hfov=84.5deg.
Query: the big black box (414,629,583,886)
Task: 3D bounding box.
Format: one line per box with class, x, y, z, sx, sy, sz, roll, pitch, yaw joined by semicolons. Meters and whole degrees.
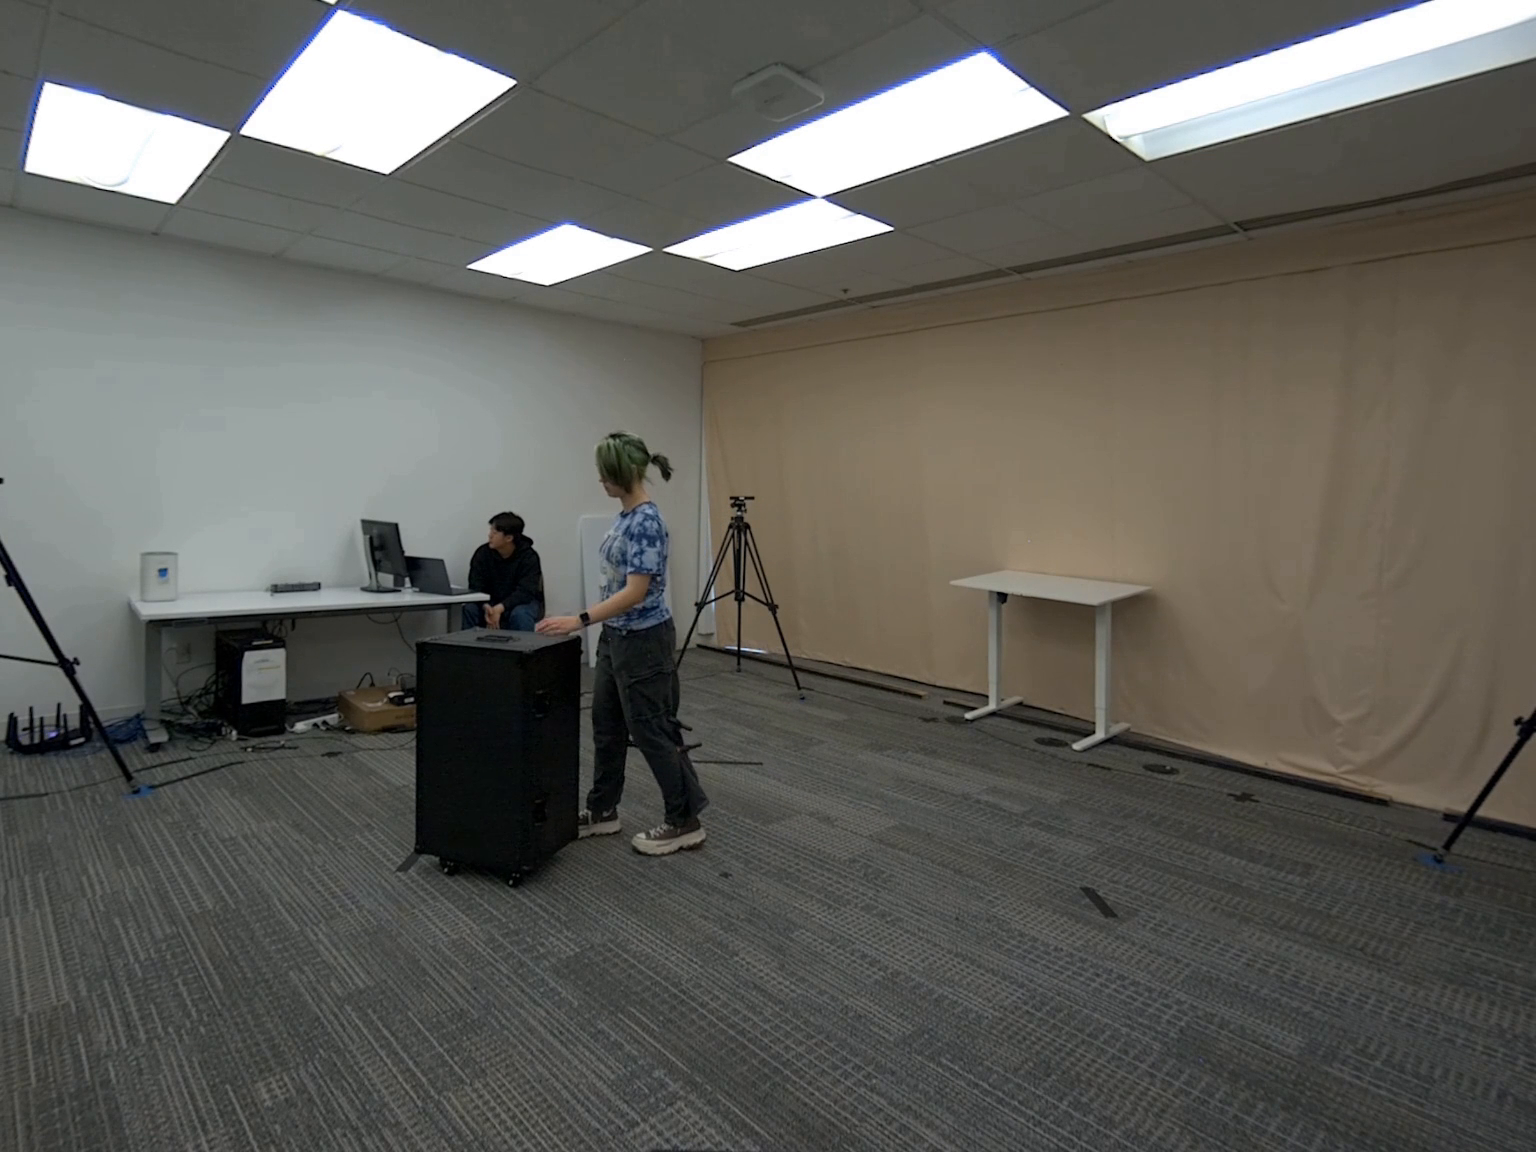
big black box;-1.014;0.658;3.144;0.529;0.860;0.391;2;3;19
